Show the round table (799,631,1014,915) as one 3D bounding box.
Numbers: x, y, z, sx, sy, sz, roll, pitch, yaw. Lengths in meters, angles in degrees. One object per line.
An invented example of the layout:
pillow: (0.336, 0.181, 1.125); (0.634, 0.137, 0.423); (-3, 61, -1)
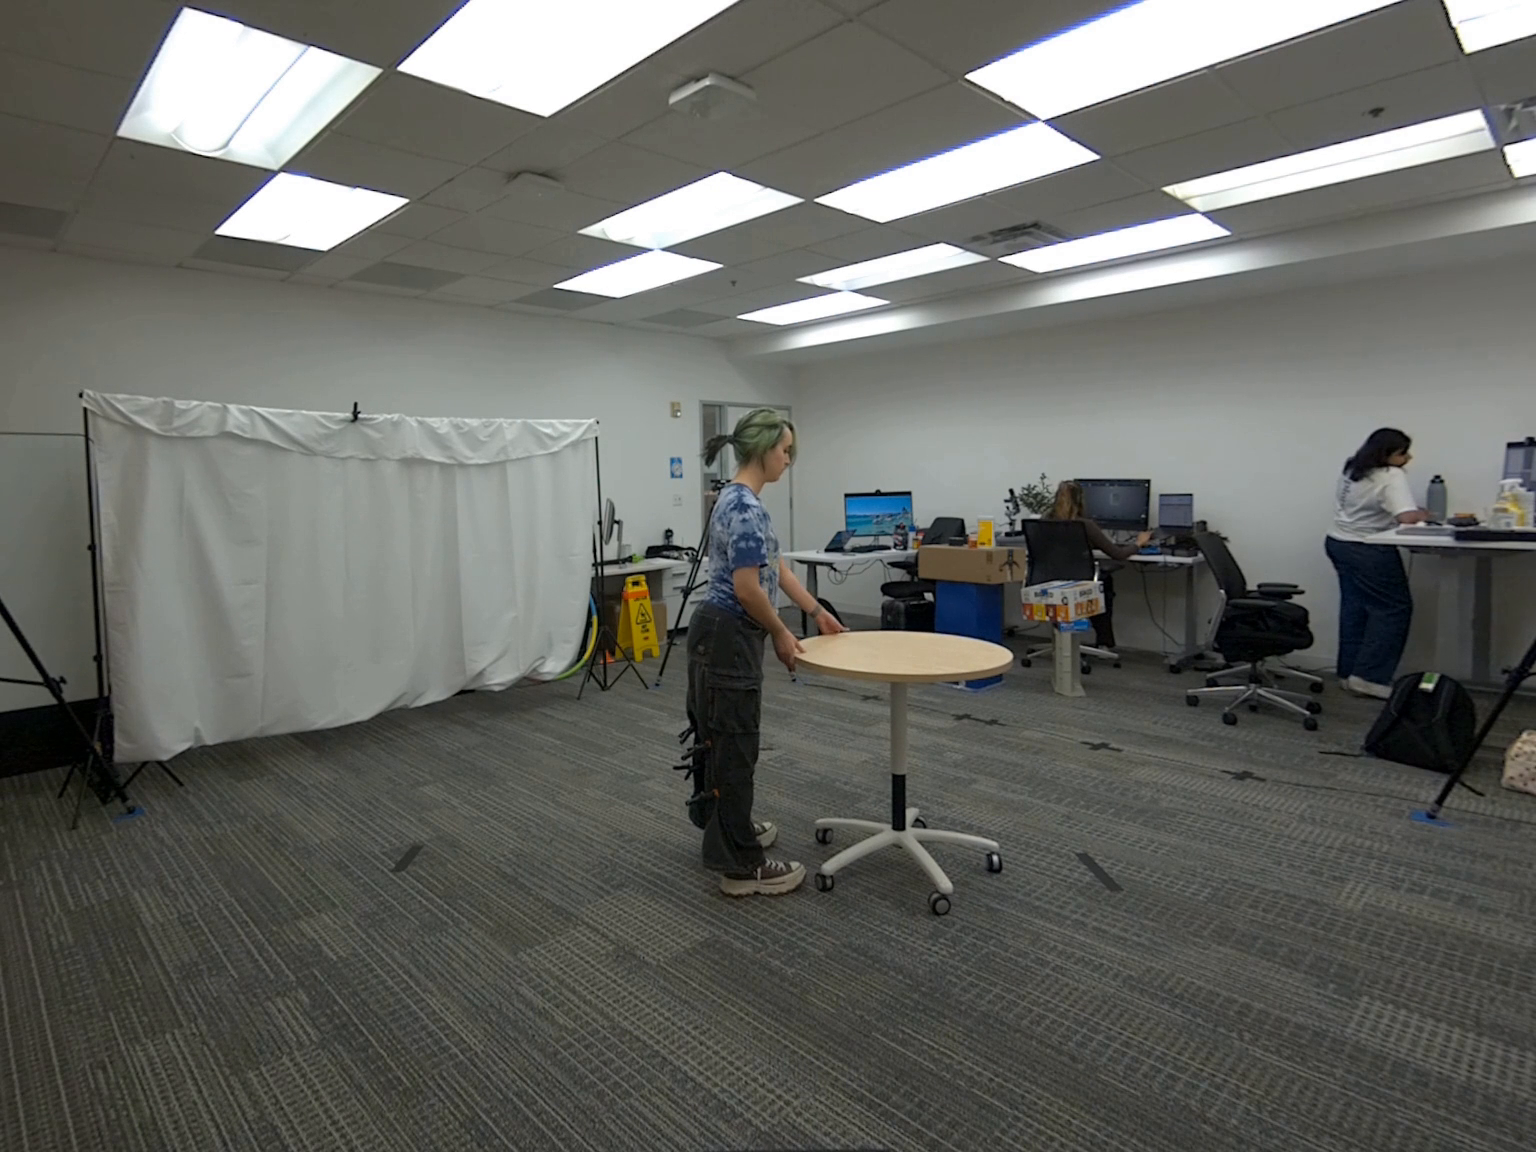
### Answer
round table: (0.467, 0.652, 3.040); (0.763, 0.791, 0.768); (-1, 5, -2)
